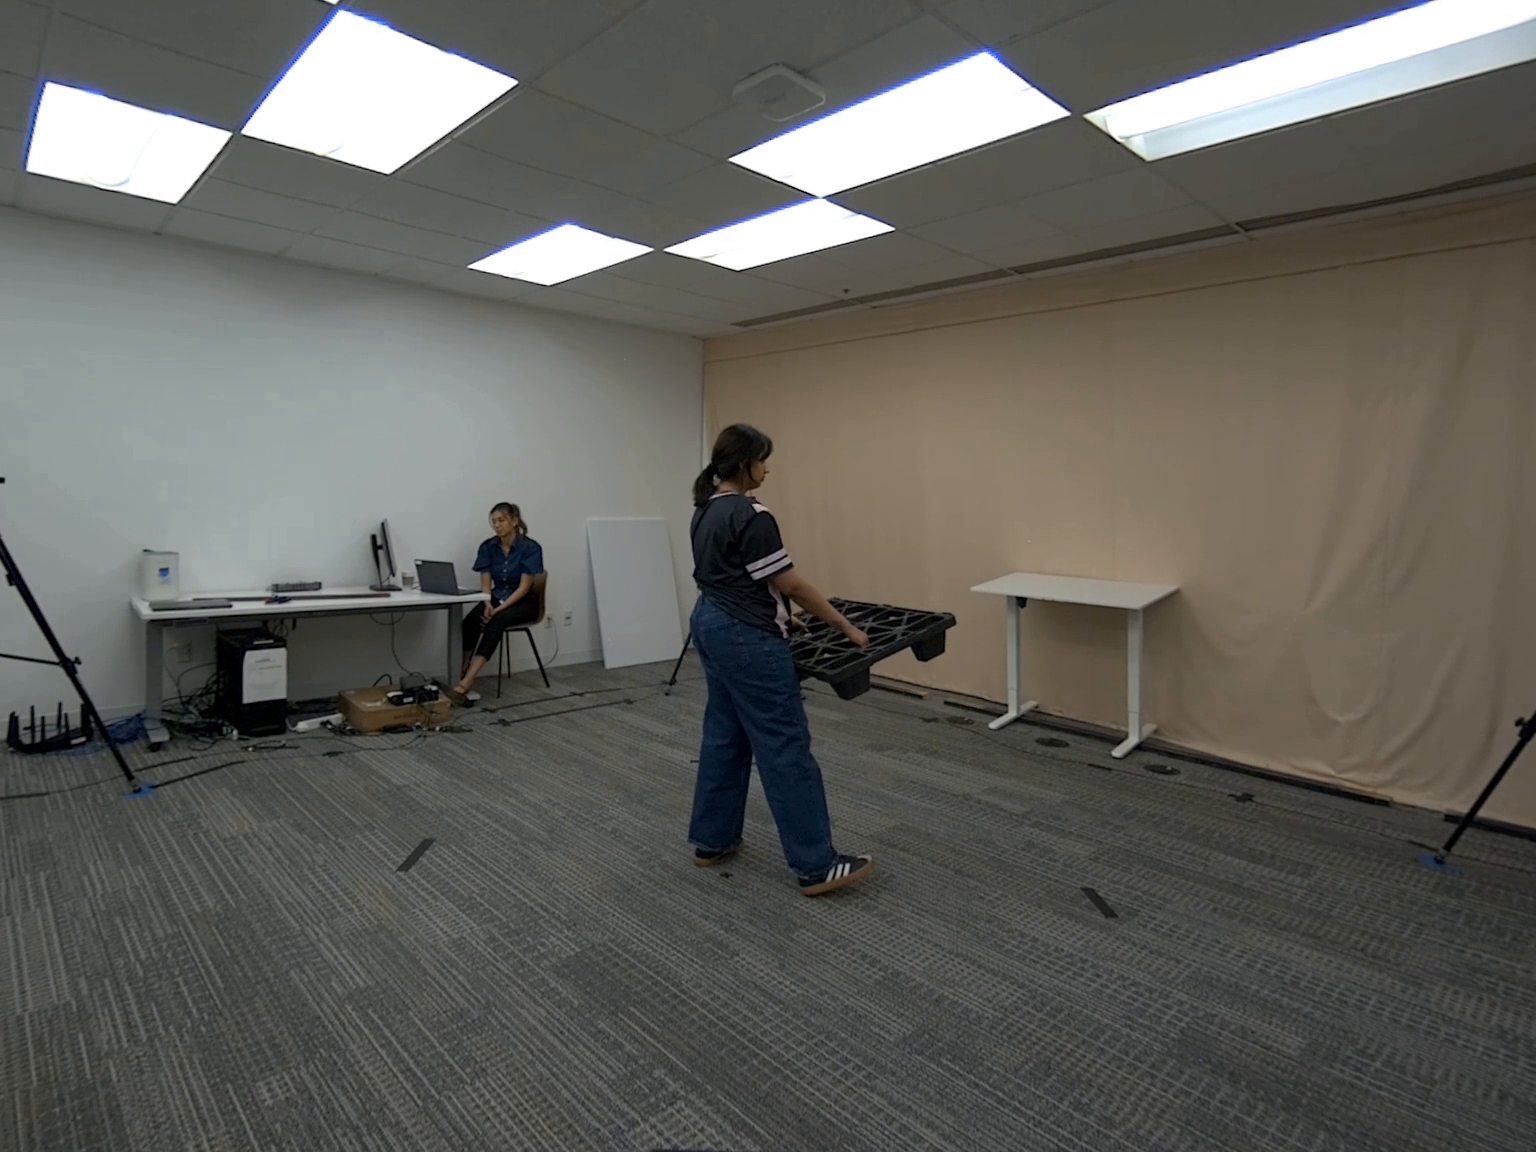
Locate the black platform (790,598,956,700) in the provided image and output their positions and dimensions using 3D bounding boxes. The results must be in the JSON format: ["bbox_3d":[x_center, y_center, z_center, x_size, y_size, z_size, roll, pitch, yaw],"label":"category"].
[{"bbox_3d":[0.264,0.276,3.347,0.598,0.142,0.823,-21,14,-28],"label":"black platform"}]
